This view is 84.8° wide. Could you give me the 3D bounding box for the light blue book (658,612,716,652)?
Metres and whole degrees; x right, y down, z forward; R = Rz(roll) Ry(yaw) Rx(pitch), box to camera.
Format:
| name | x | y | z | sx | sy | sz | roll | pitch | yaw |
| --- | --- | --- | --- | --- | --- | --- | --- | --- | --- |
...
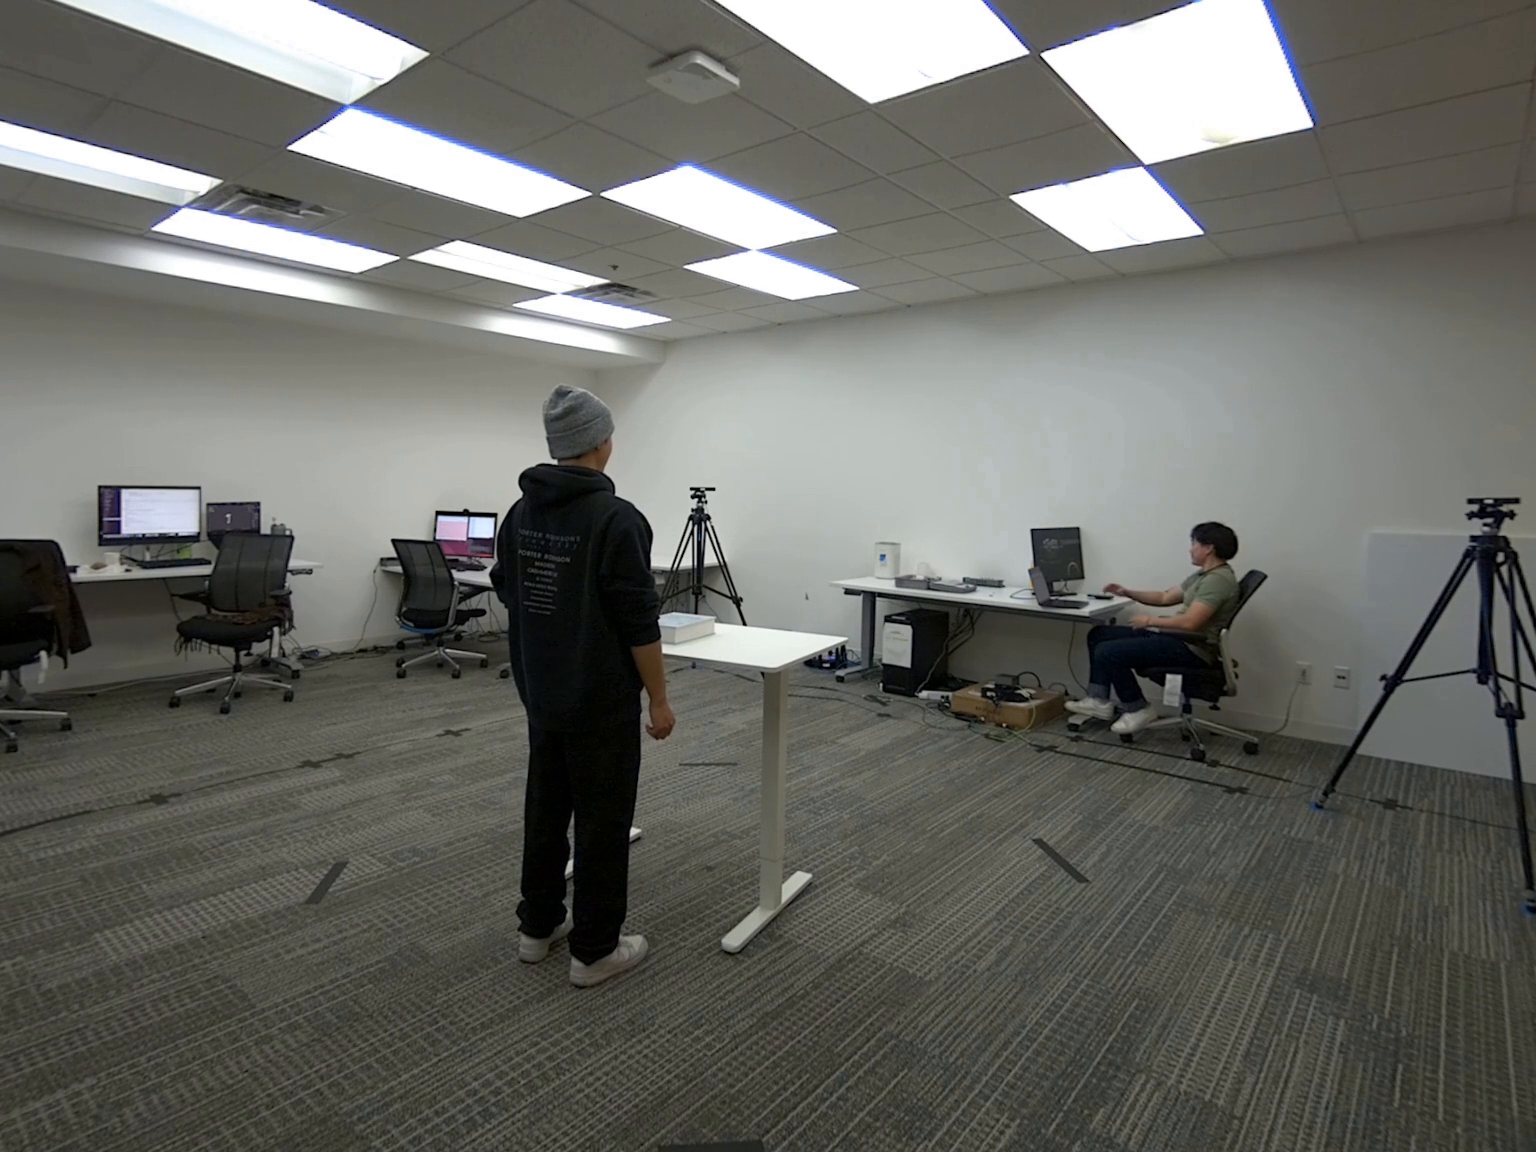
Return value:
| name | x | y | z | sx | sy | sz | roll | pitch | yaw |
| --- | --- | --- | --- | --- | --- | --- | --- | --- | --- |
| light blue book | -0.326 | 0.175 | 2.898 | 0.197 | 0.059 | 0.255 | 4 | 6 | 28 |
